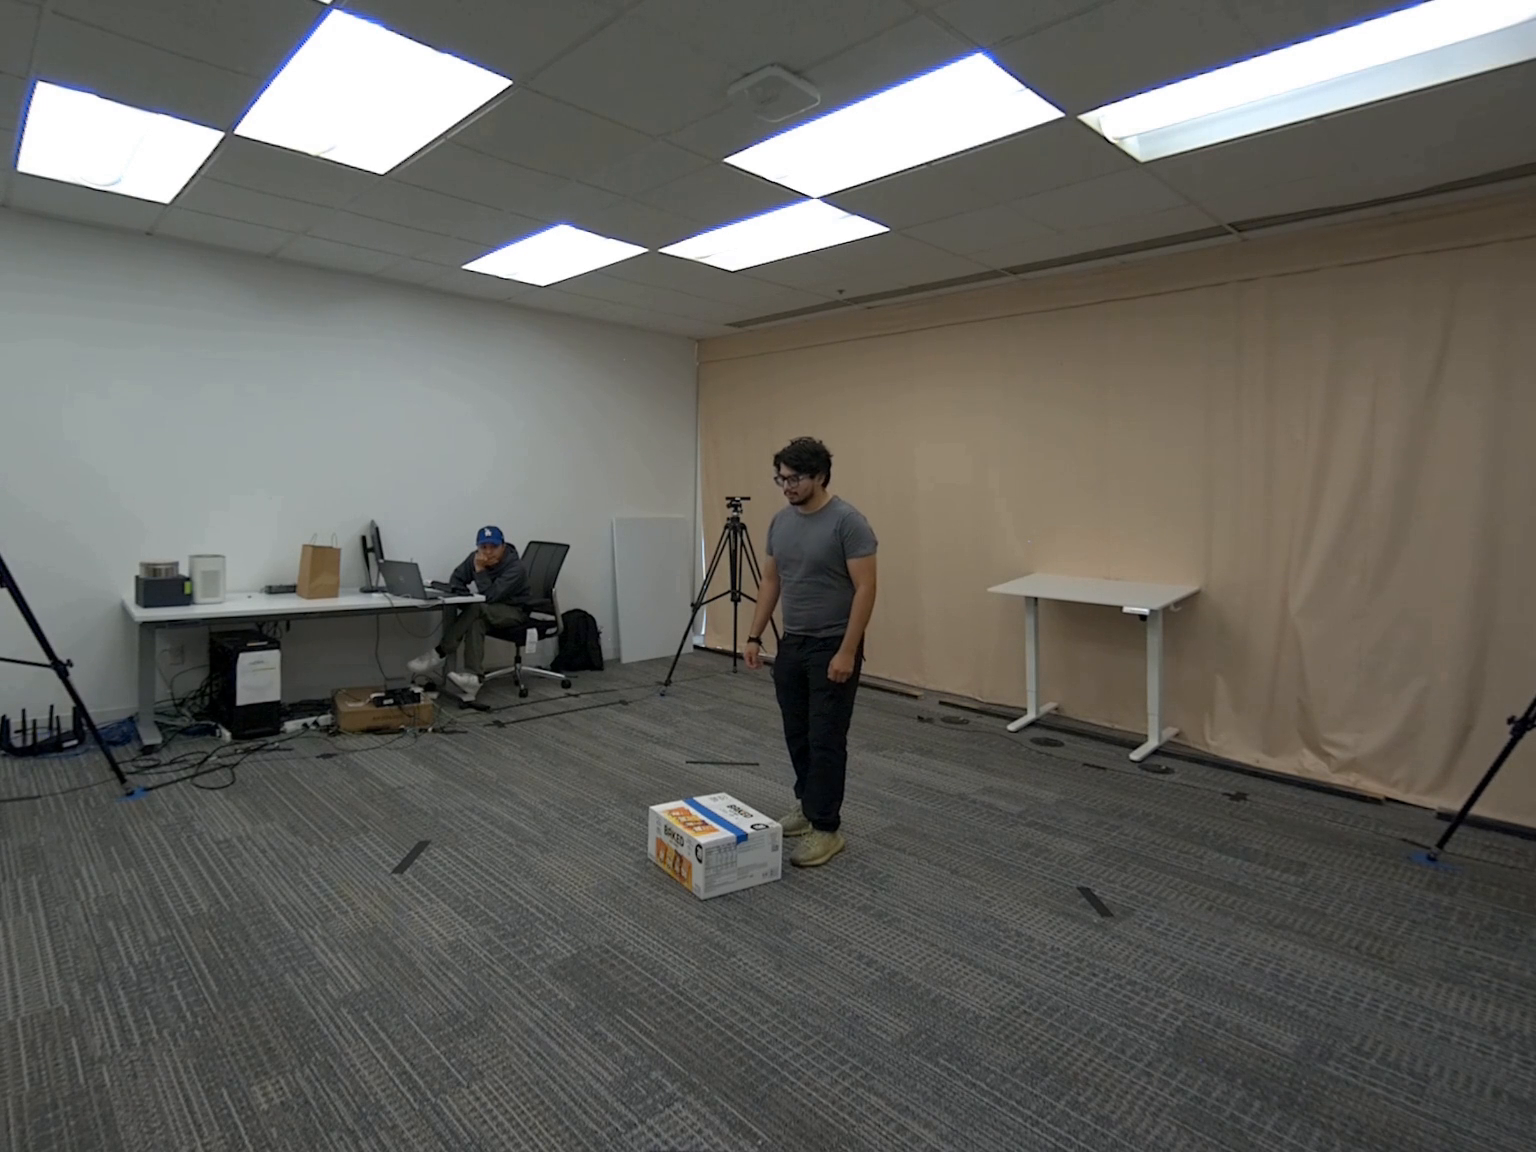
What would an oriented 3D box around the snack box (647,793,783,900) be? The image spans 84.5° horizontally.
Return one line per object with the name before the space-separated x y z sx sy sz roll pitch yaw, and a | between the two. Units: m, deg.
snack box | -0.210 1.001 3.148 0.333 0.205 0.415 -2 5 -34
